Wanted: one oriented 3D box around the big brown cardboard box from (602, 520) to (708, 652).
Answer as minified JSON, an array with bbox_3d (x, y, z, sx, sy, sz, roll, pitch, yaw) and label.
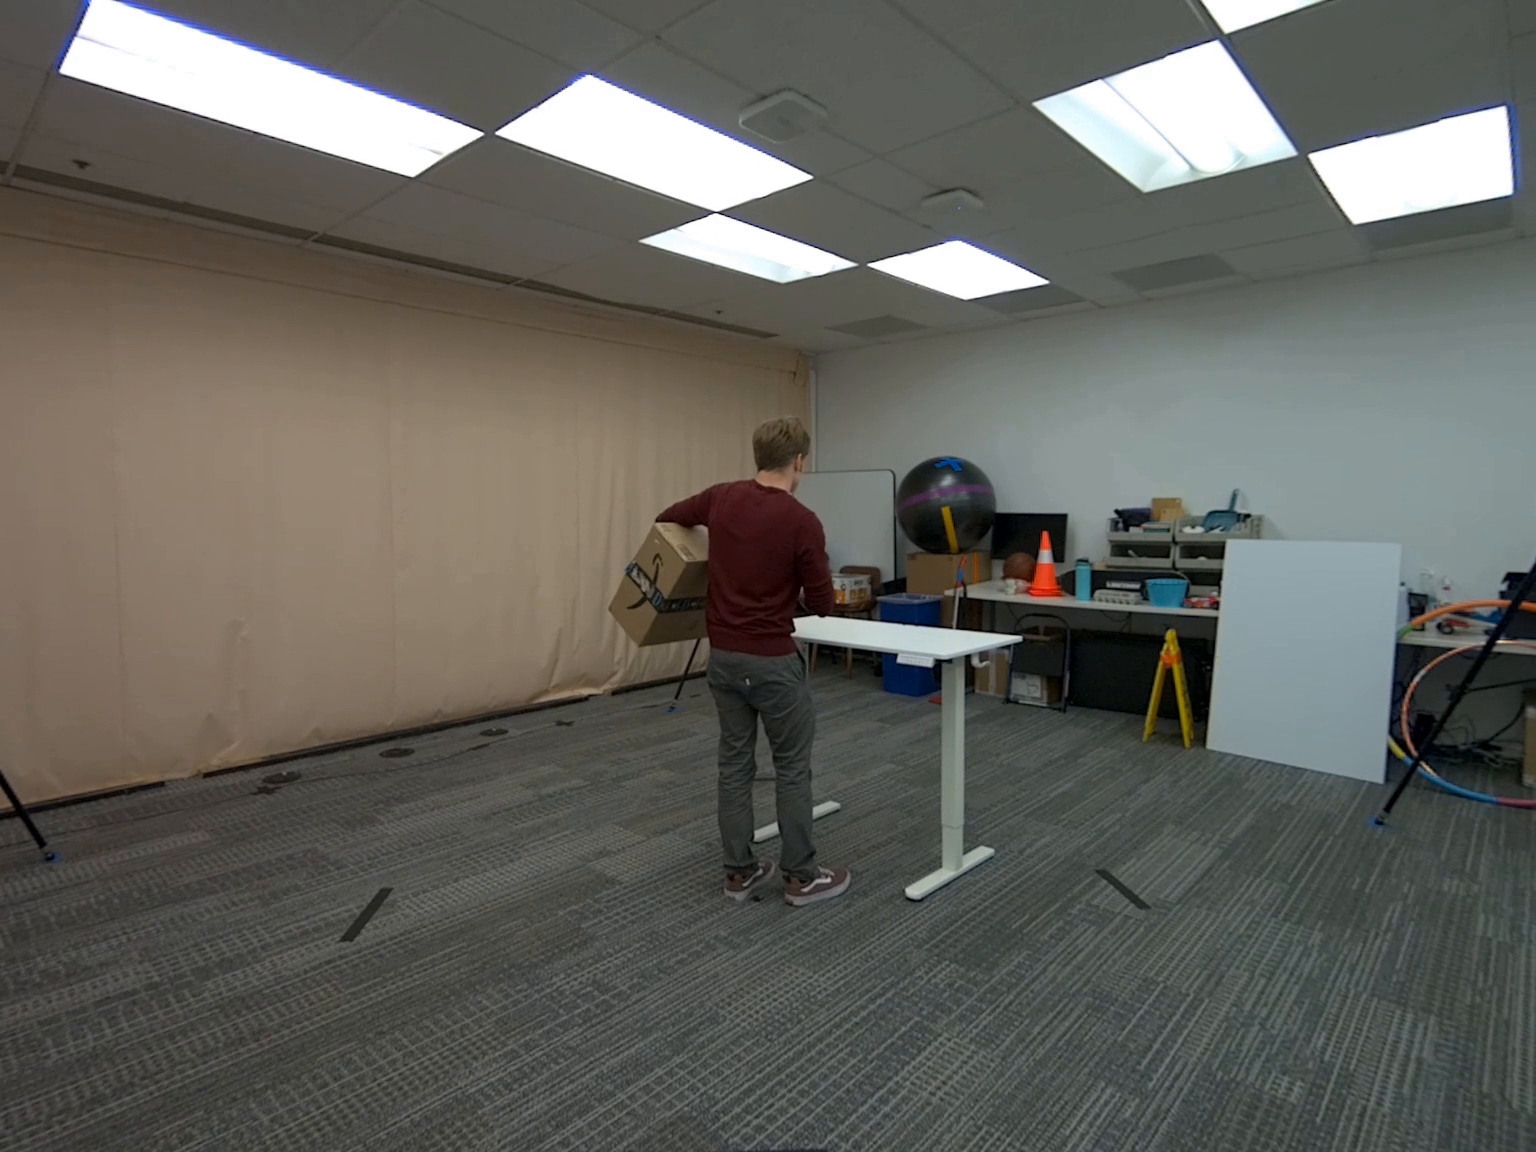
[{"bbox_3d":[-0.263,0.025,3.240,0.571,0.418,0.240,-3,43,-50],"label":"big brown cardboard box"}]
